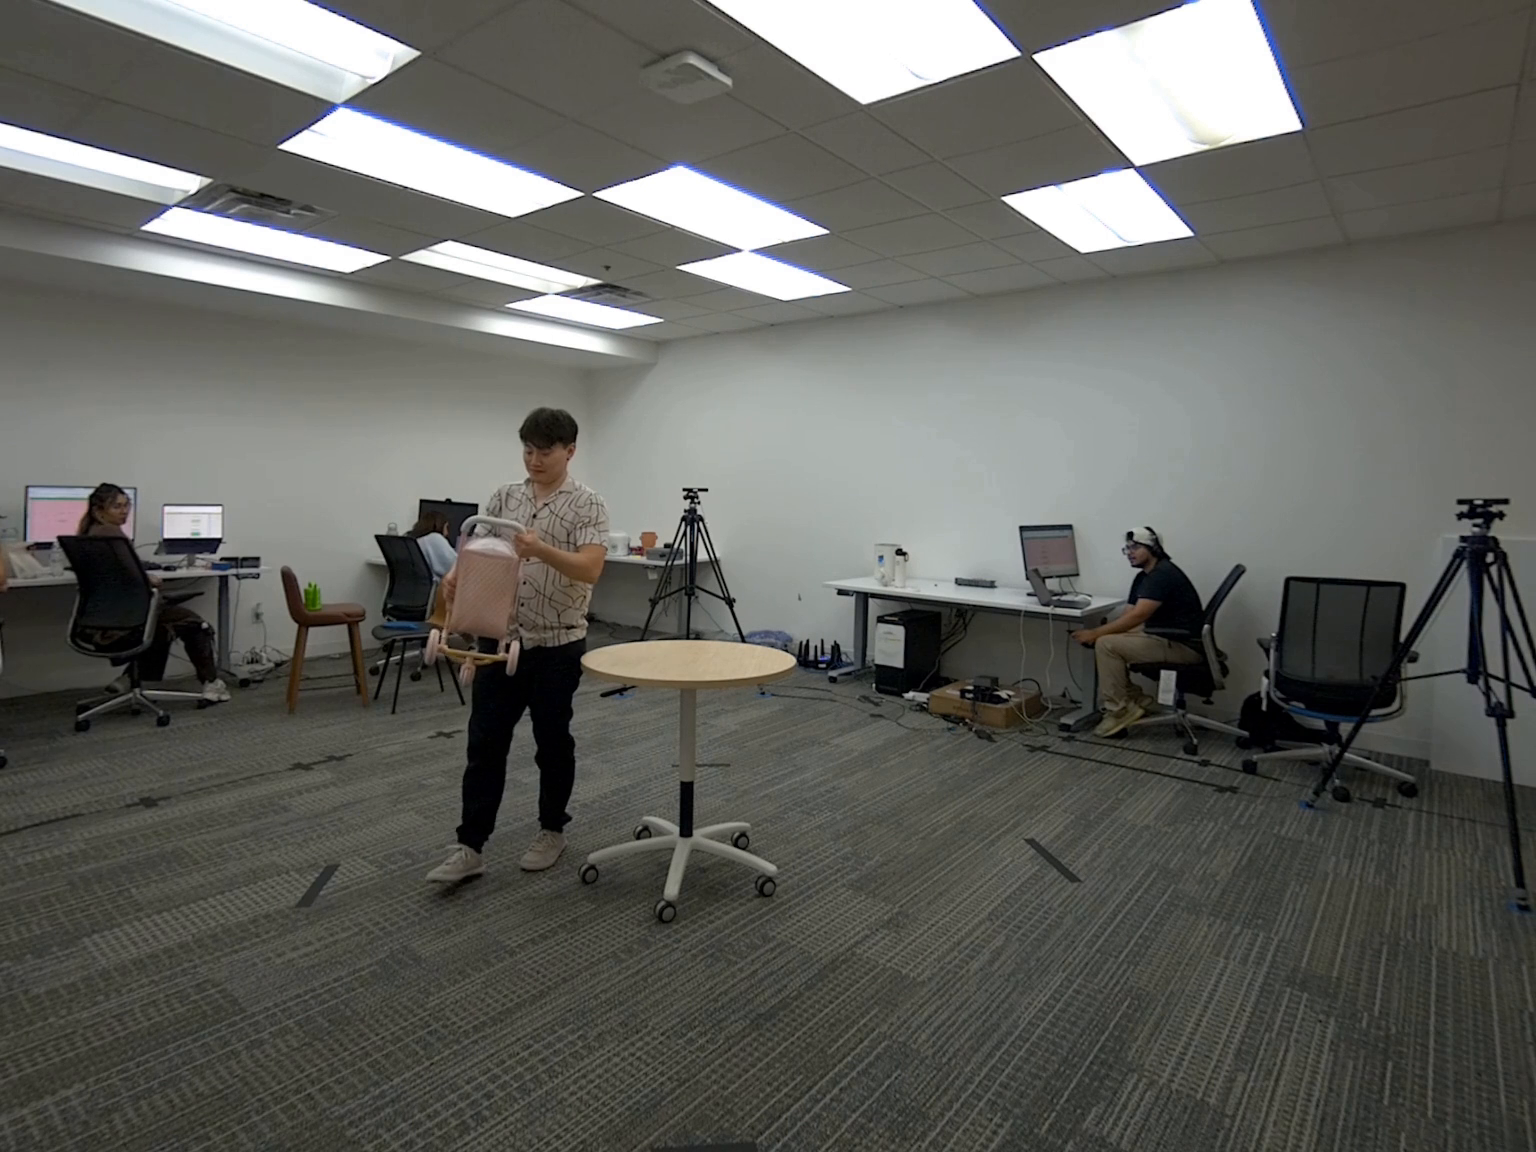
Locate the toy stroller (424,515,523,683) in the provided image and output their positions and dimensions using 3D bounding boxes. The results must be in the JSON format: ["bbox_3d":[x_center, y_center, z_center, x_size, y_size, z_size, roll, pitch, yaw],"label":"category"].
[{"bbox_3d":[-0.965,0.098,2.792,0.276,0.540,0.344,10,-11,-16],"label":"toy stroller"}]
